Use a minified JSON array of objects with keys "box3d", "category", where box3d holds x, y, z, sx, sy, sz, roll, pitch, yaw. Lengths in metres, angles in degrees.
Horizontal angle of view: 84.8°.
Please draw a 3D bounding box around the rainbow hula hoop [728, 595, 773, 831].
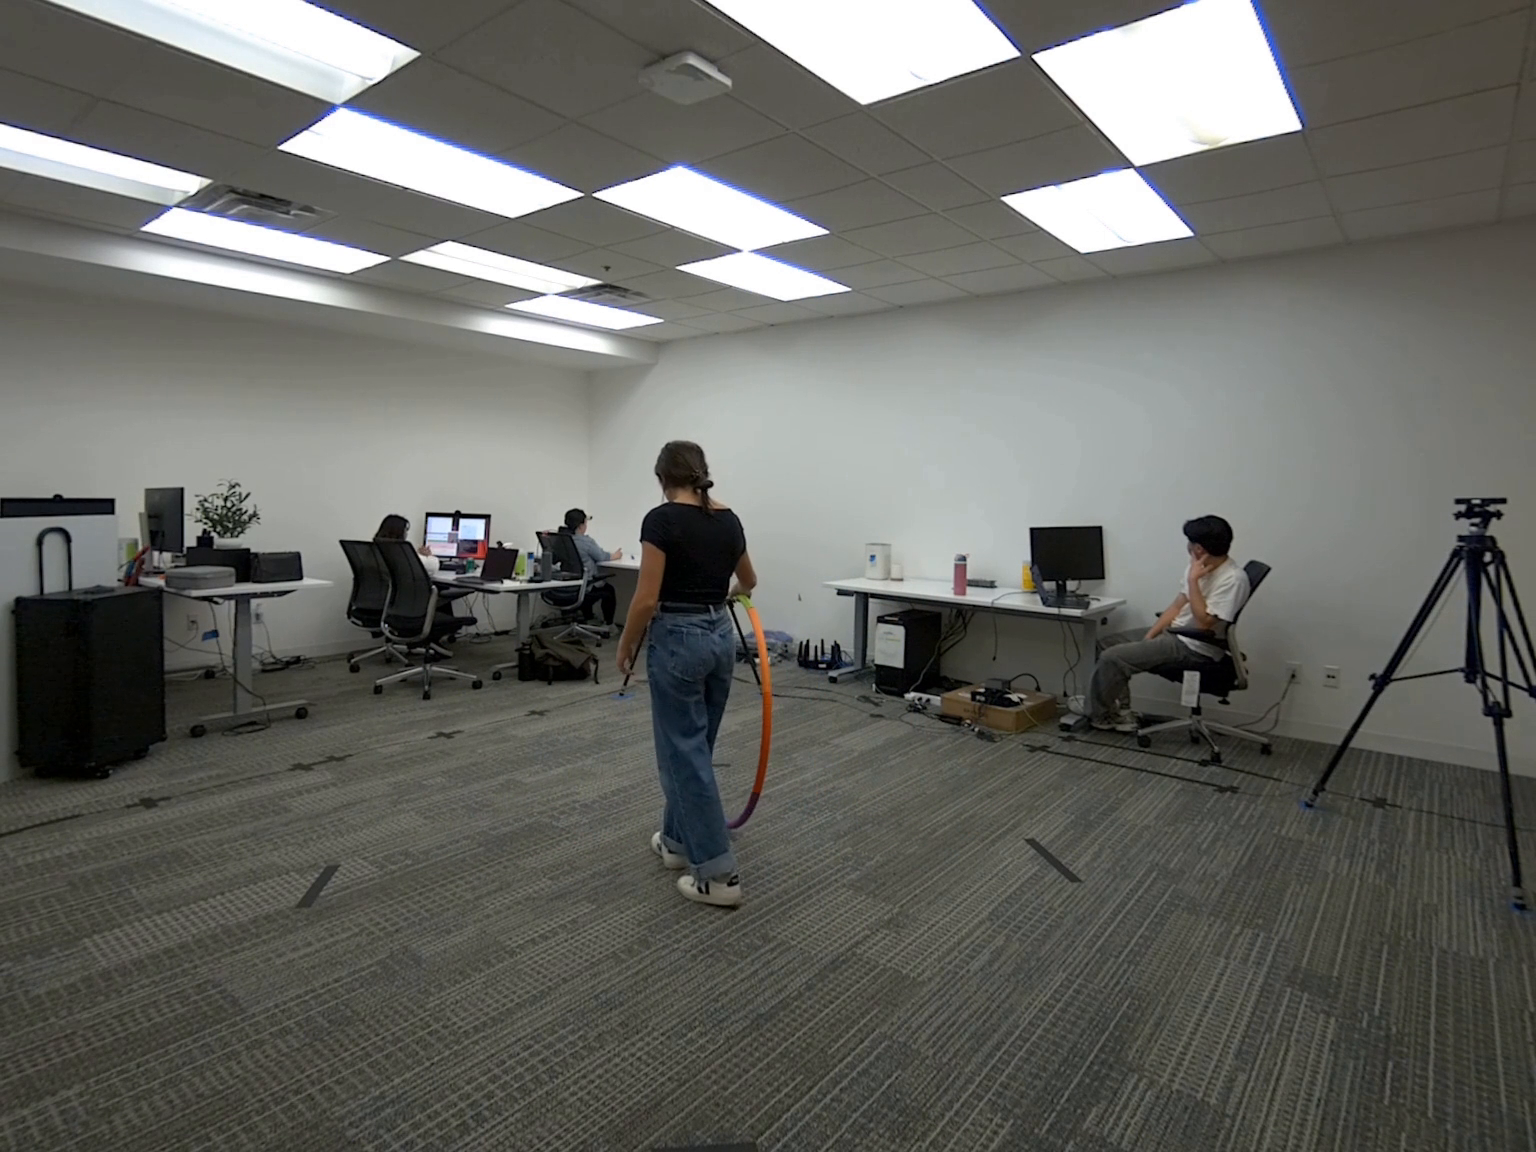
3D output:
[{"box3d":[-0.170,0.535,3.562,0.035,0.977,1.000,4,3,-20],"category":"rainbow hula hoop"}]
